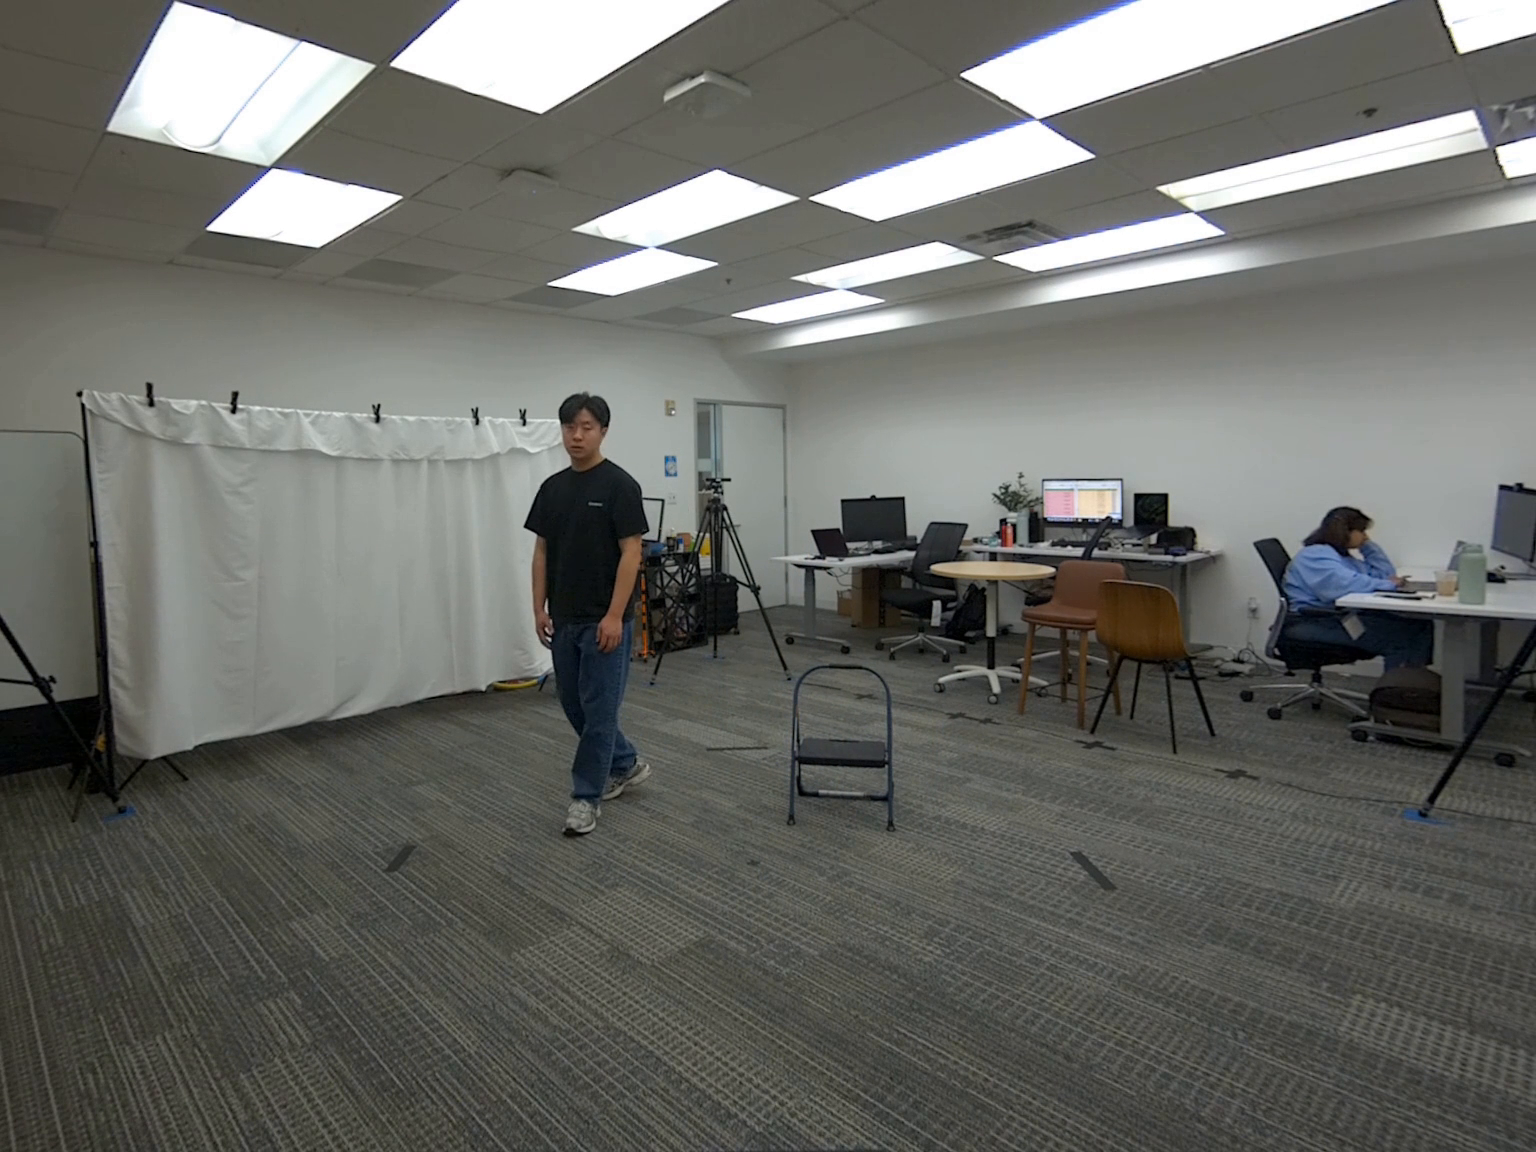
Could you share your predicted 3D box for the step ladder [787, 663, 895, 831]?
[{"bbox_3d":[0.308,0.680,3.546,0.435,0.603,0.347,1,5,9],"label":"step ladder"}]
